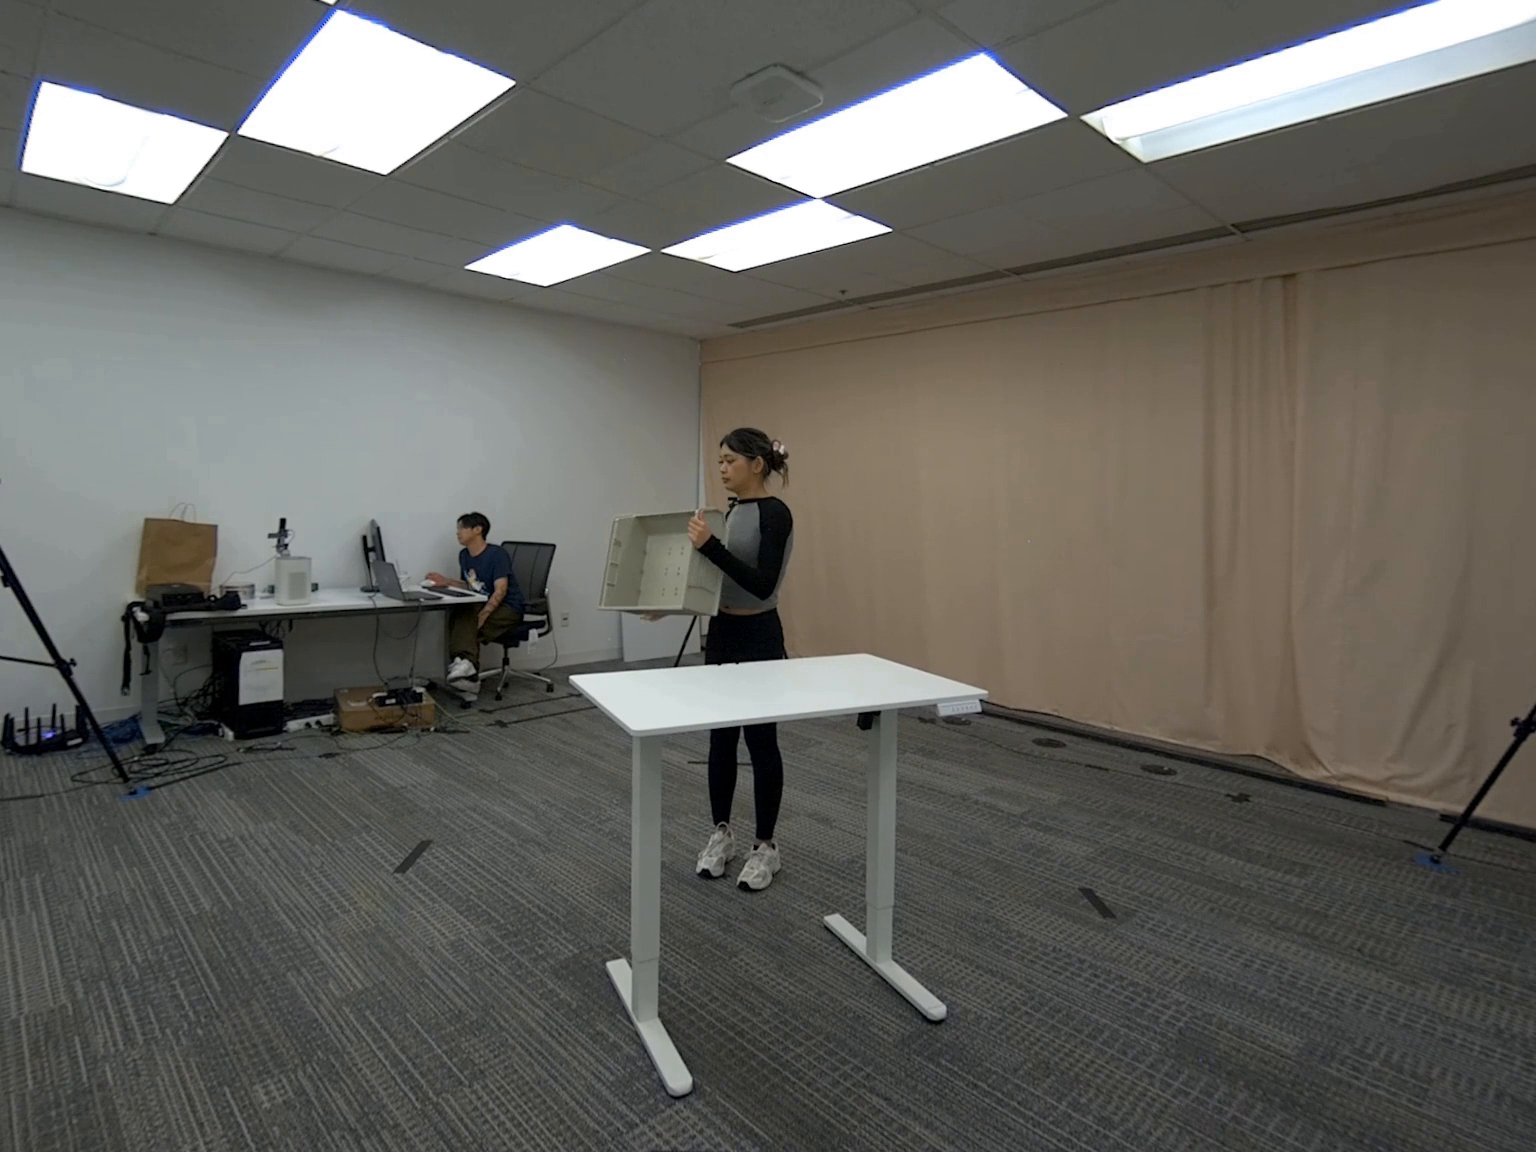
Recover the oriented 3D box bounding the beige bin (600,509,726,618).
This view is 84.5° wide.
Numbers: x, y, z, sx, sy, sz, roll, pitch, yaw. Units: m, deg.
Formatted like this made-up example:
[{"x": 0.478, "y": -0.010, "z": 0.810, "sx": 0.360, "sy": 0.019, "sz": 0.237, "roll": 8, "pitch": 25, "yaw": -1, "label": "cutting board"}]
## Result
[{"x": -0.367, "y": -0.048, "z": 2.977, "sx": 0.432, "sy": 0.380, "sz": 0.183, "roll": -2, "pitch": -14, "yaw": 39, "label": "beige bin"}]
